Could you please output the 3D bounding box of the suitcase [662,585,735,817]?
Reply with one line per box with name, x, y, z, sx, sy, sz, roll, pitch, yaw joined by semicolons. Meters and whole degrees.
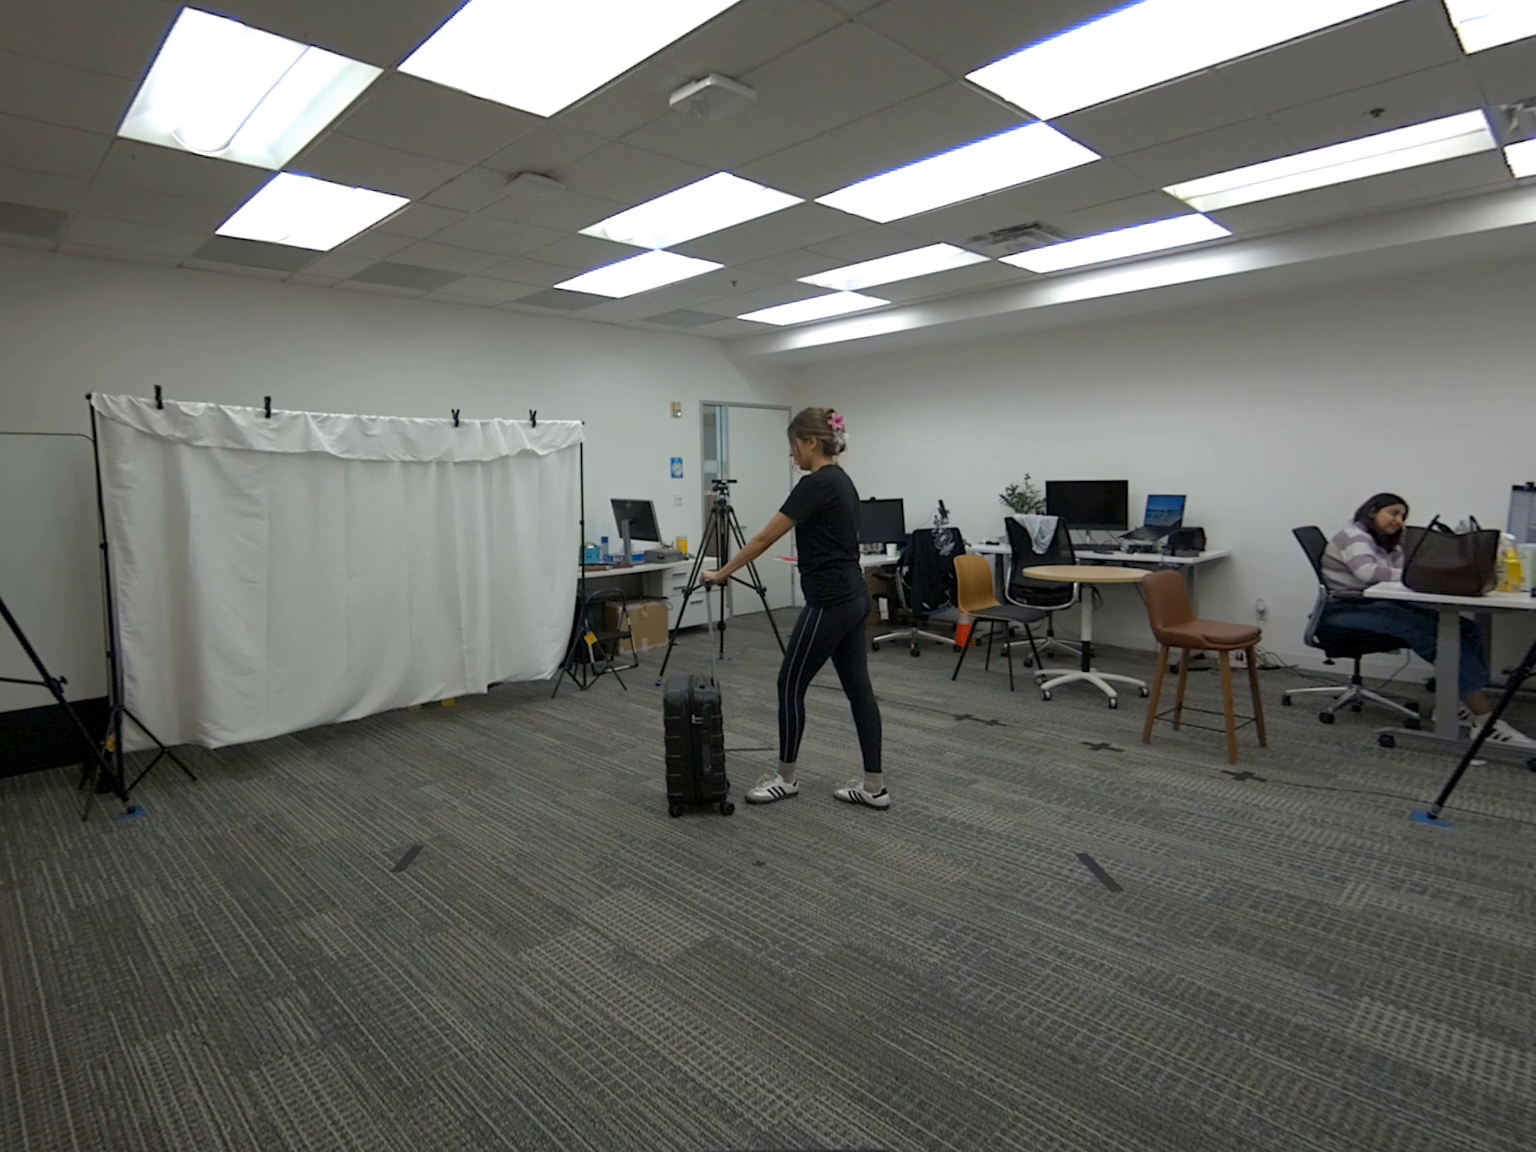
suitcase;-0.325;0.510;3.678;0.257;0.975;0.385;-3;4;-1
